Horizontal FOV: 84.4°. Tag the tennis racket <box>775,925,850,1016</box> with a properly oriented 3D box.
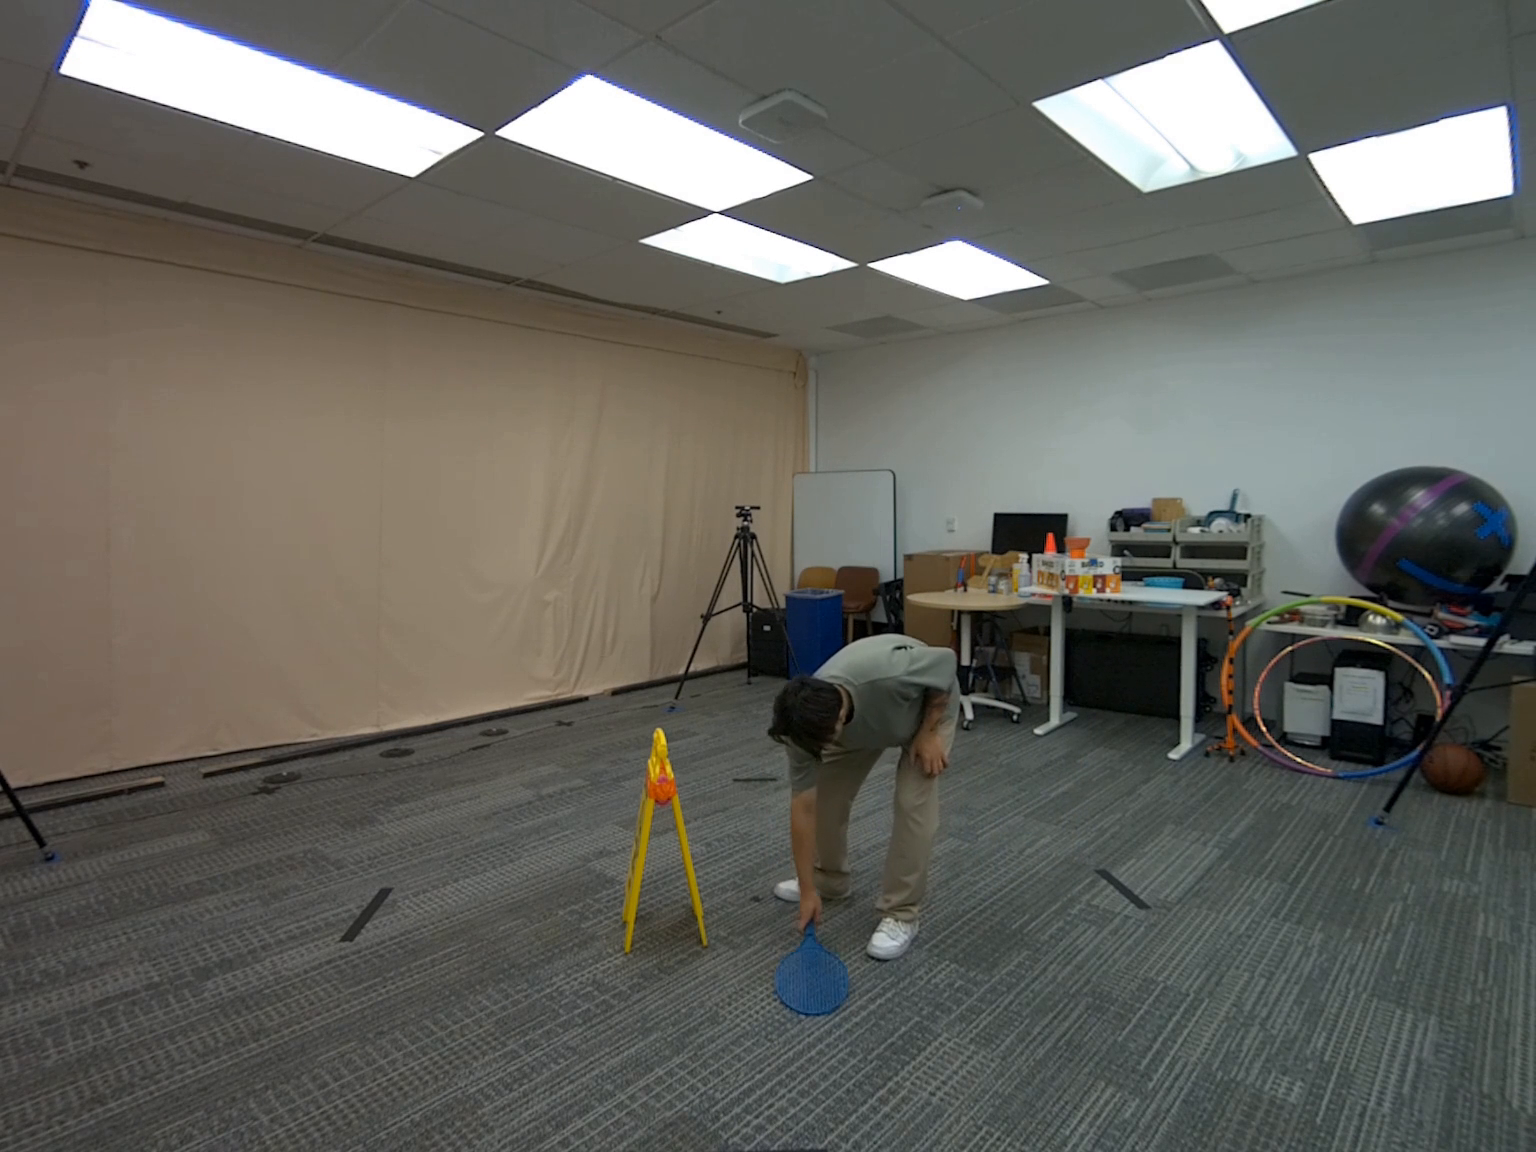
[{"bbox_3d":[0.131,1.136,2.512,0.215,0.031,0.435,-5,14,4],"label":"tennis racket"}]
